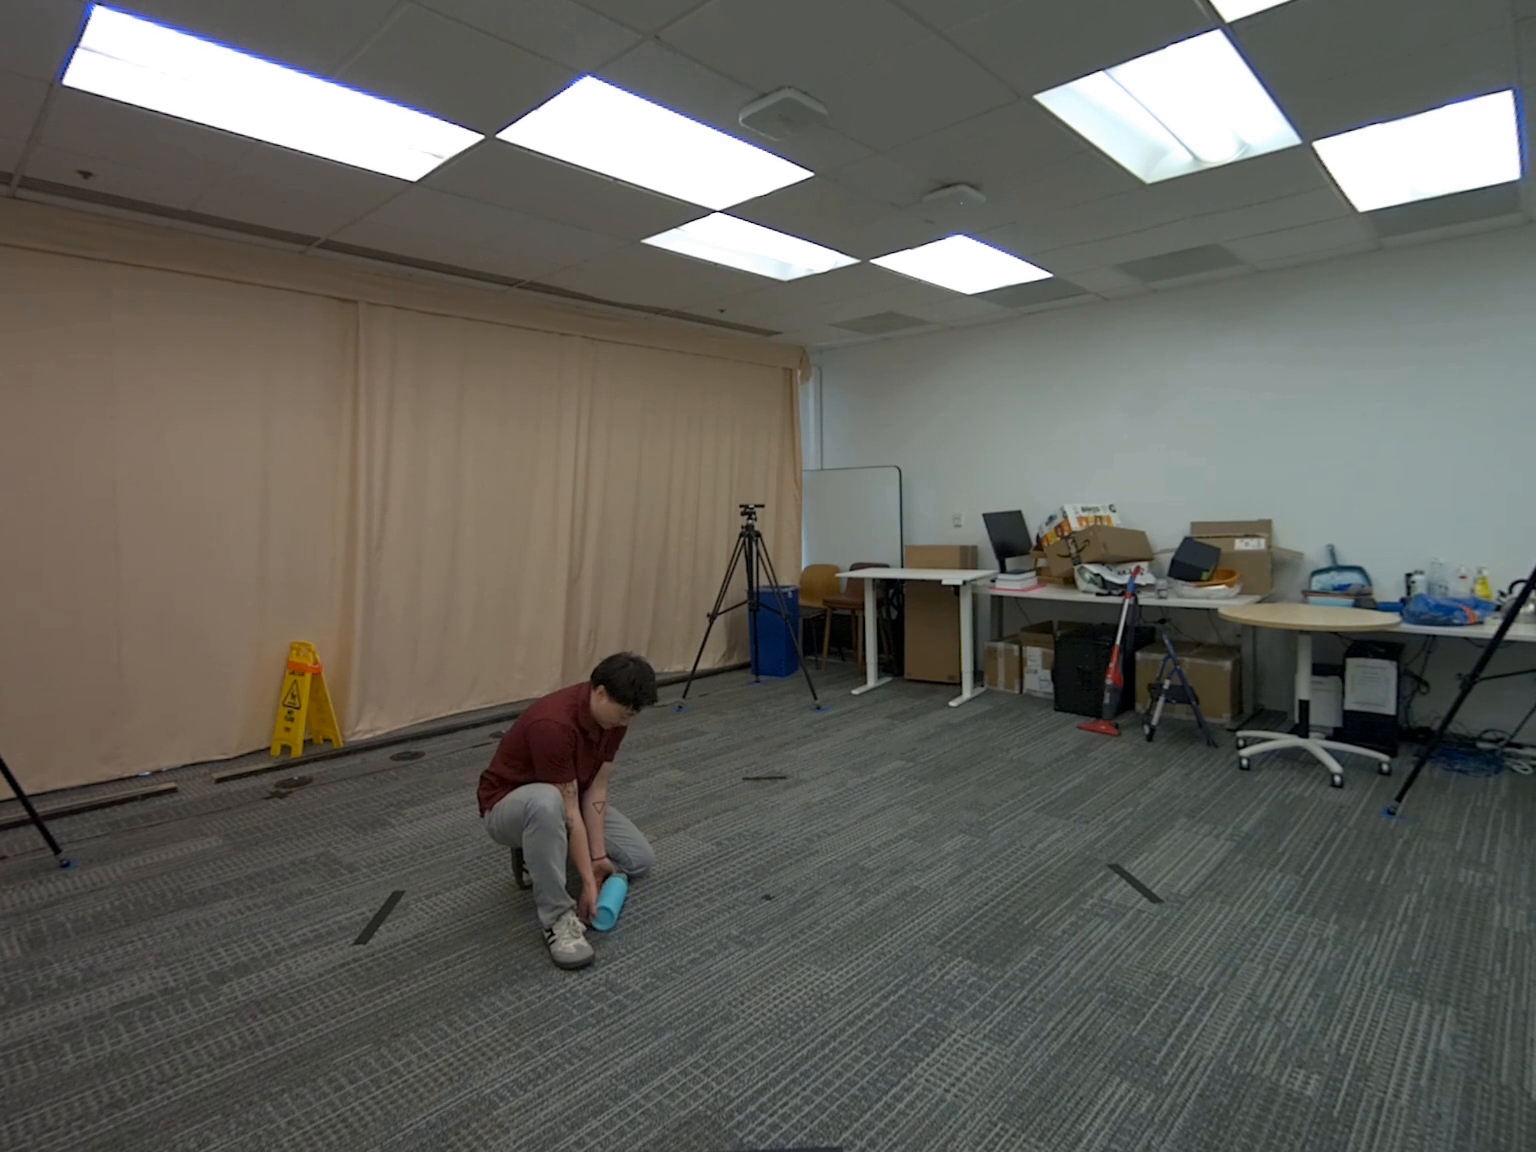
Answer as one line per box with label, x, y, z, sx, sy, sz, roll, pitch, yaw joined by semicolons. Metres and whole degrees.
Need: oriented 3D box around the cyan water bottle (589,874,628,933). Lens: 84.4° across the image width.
cyan water bottle;-0.541;1.113;2.892;0.093;0.092;0.283;-1;5;2
